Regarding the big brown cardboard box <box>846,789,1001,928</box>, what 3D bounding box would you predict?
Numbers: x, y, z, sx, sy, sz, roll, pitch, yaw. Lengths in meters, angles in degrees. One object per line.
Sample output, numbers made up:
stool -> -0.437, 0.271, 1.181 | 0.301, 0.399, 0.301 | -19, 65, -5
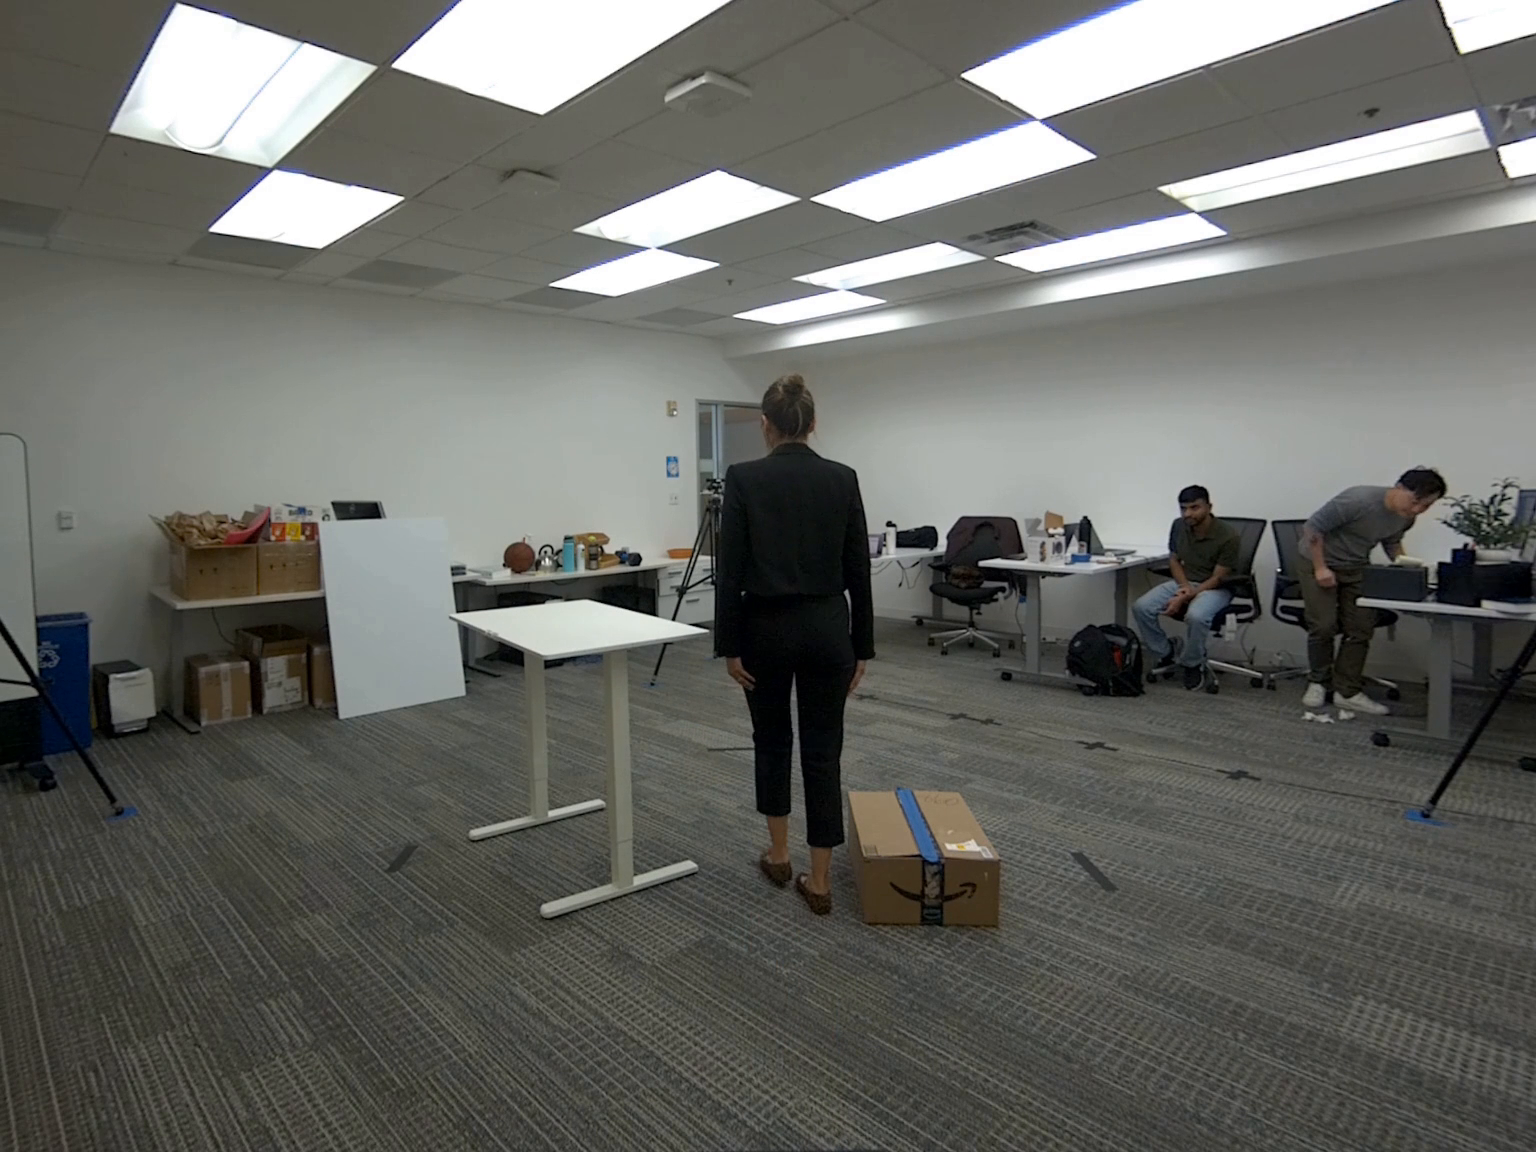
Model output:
big brown cardboard box -> 0.511, 0.943, 2.921 | 0.418, 0.232, 0.590 | -1, 5, 0
